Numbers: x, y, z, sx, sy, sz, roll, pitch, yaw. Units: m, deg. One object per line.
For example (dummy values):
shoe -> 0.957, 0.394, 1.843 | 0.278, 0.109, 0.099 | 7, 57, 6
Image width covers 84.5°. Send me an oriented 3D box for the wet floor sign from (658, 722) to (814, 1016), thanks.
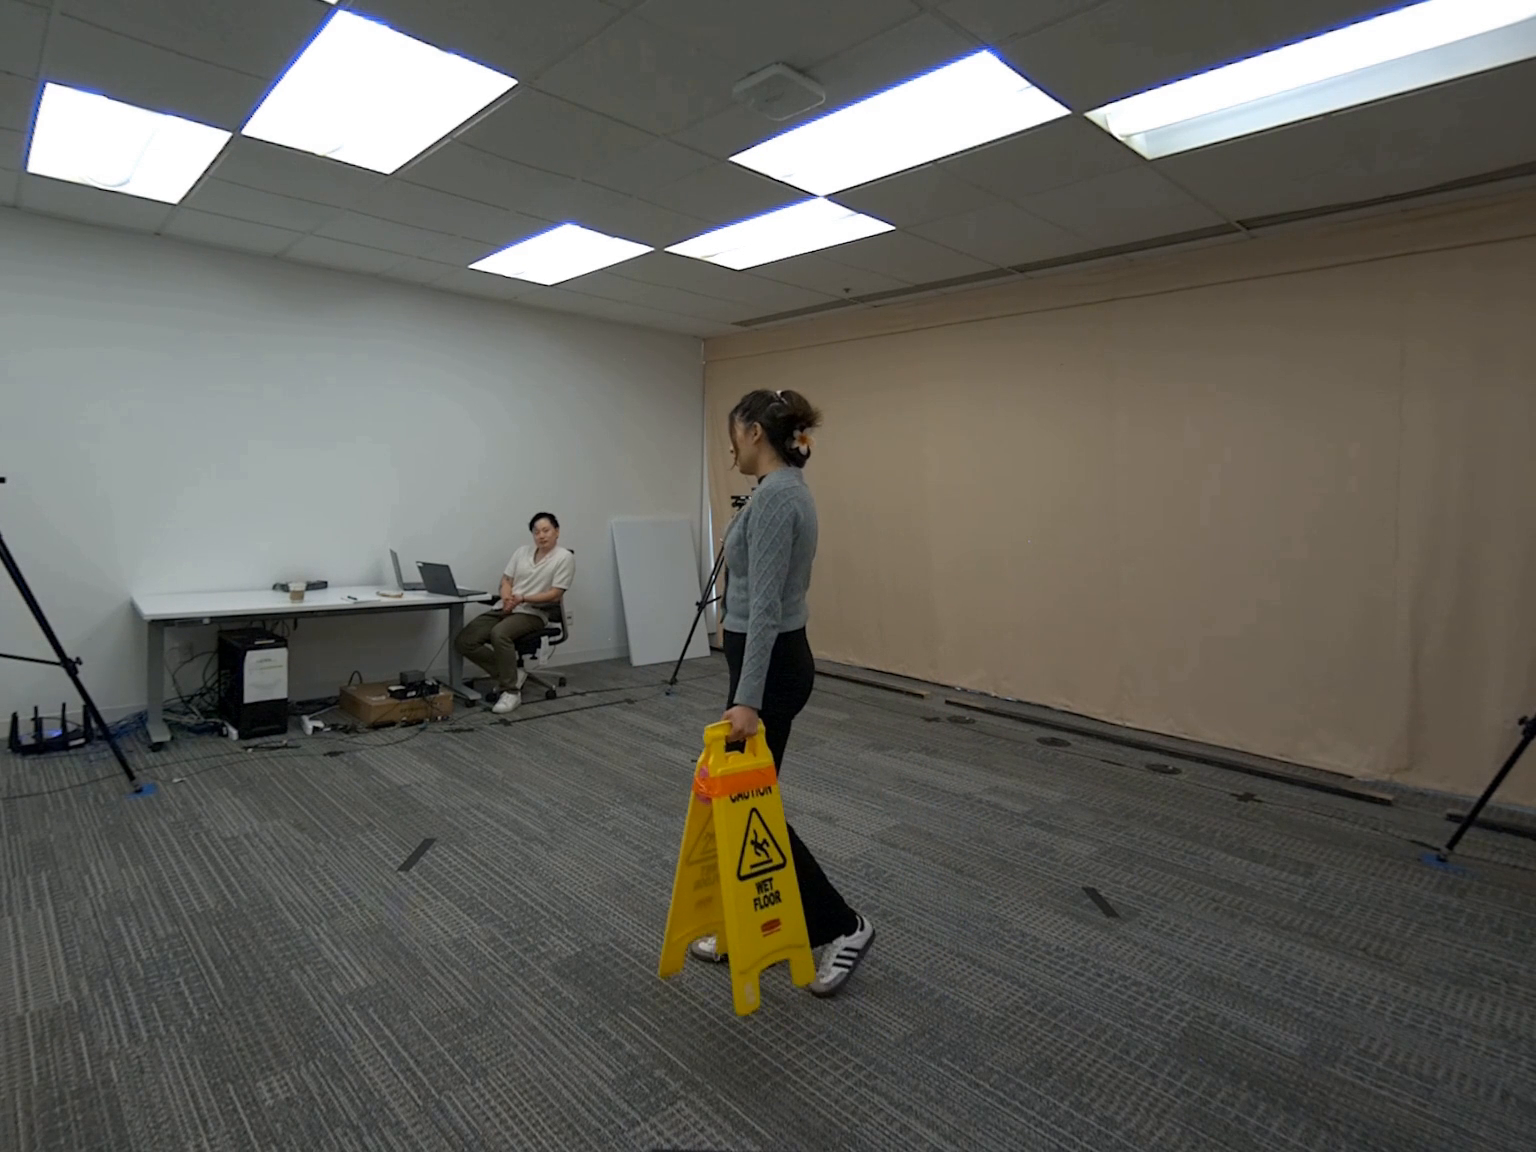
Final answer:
wet floor sign -> -0.096, 0.703, 2.149 | 0.296, 0.648, 0.275 | -4, -6, 43
